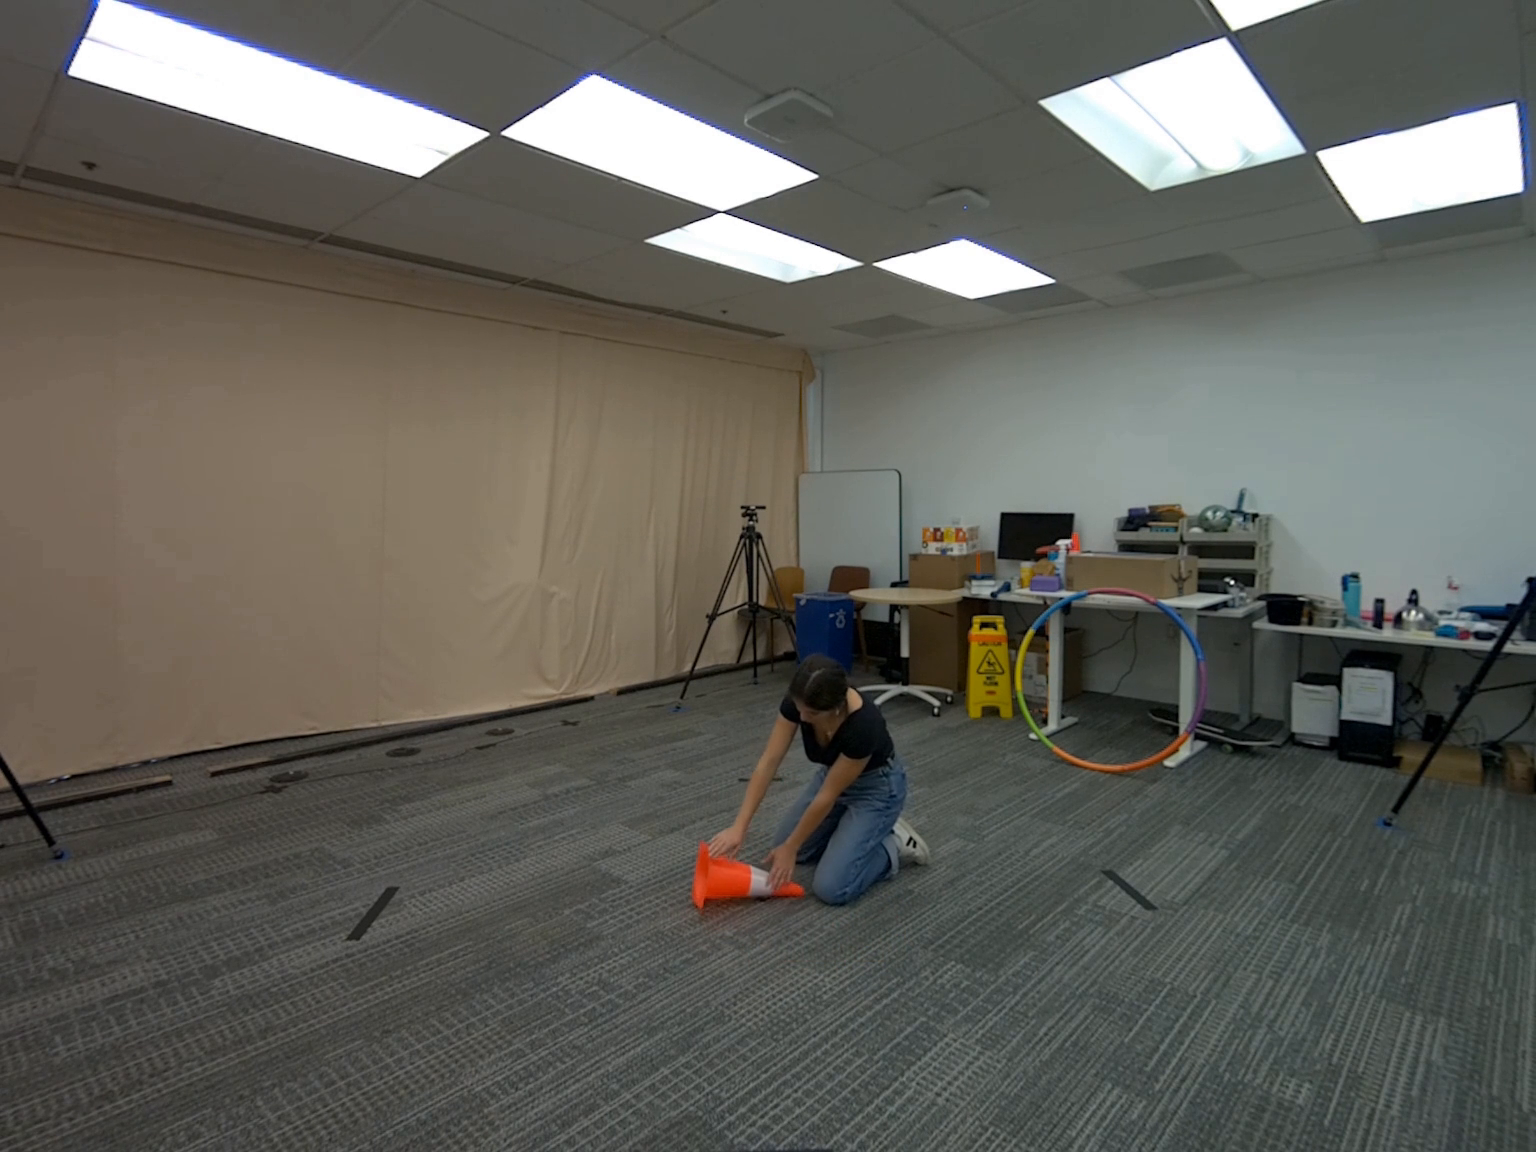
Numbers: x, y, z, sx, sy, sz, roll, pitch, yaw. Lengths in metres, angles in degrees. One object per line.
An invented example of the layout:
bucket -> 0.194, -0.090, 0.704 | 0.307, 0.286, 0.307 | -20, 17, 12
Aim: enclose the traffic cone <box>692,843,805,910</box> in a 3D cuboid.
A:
traffic cone -> -0.046, 1.088, 2.981 | 0.378, 0.206, 0.205 | 14, -13, -14
